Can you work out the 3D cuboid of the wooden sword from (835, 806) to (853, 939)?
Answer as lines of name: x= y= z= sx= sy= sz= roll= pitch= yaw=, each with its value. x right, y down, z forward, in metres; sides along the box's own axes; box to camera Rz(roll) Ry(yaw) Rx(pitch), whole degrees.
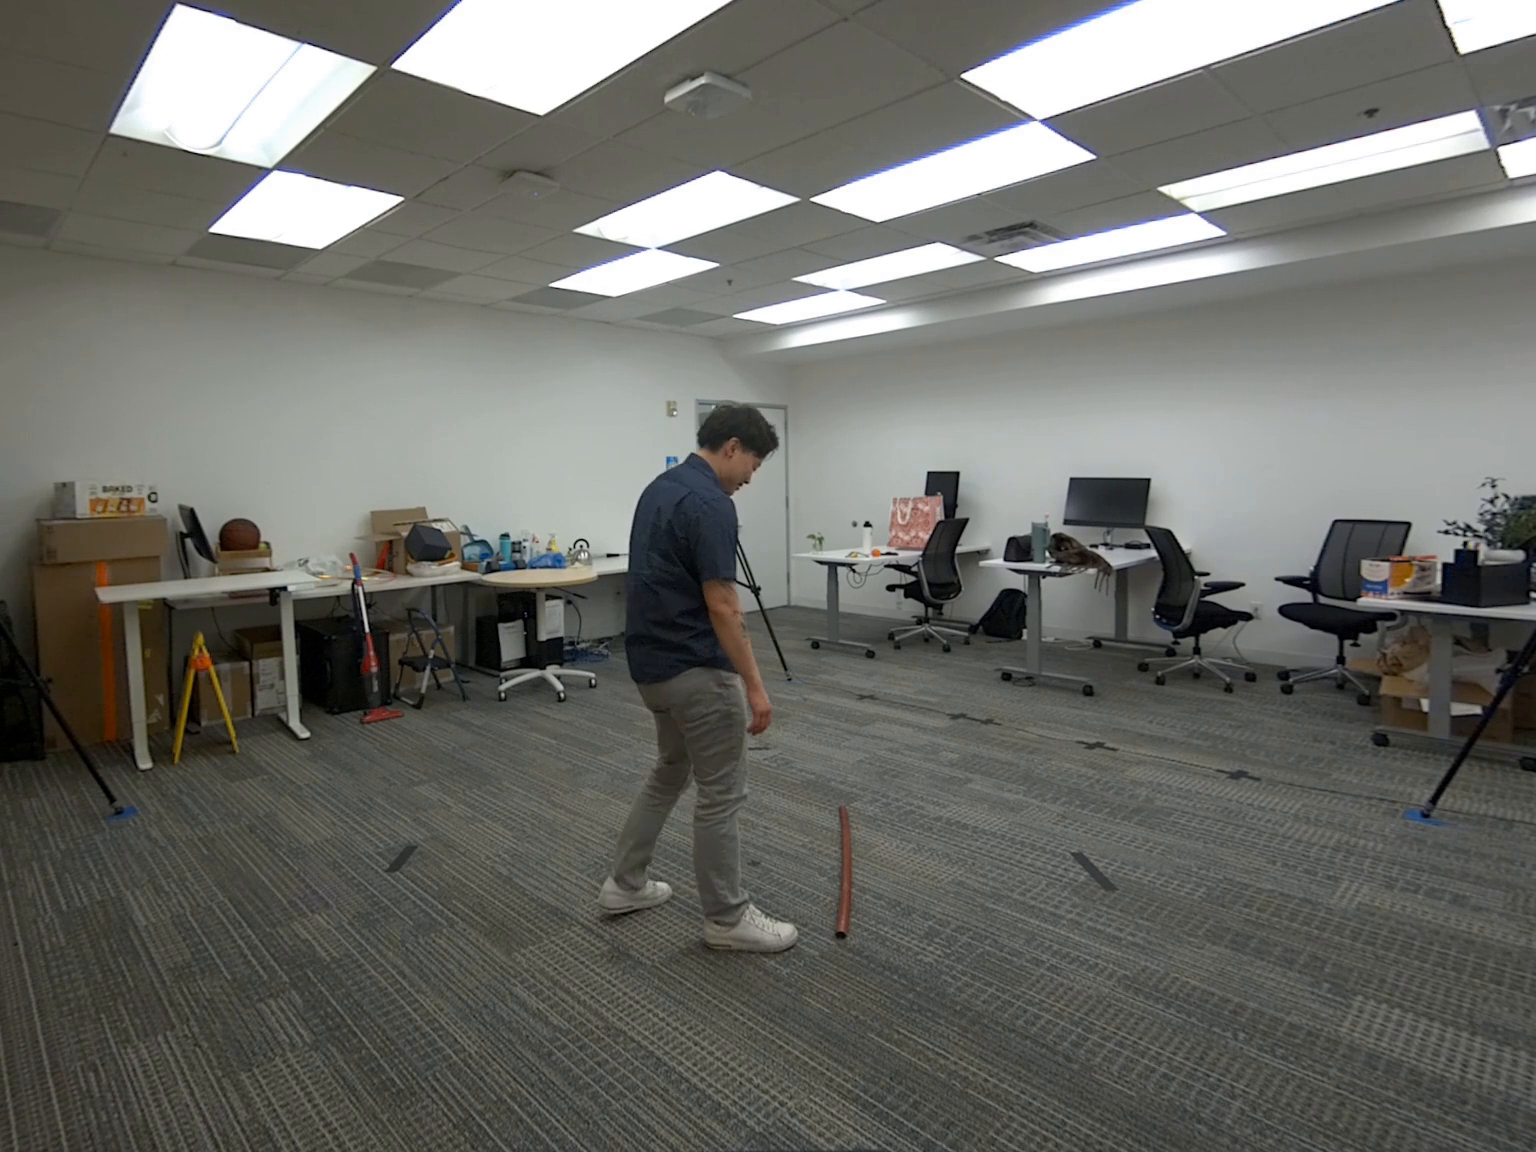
wooden sword: x=0.272 y=1.019 z=3.101 sx=0.051 sy=0.024 sz=1.022 roll=-3 pitch=6 yaw=5
